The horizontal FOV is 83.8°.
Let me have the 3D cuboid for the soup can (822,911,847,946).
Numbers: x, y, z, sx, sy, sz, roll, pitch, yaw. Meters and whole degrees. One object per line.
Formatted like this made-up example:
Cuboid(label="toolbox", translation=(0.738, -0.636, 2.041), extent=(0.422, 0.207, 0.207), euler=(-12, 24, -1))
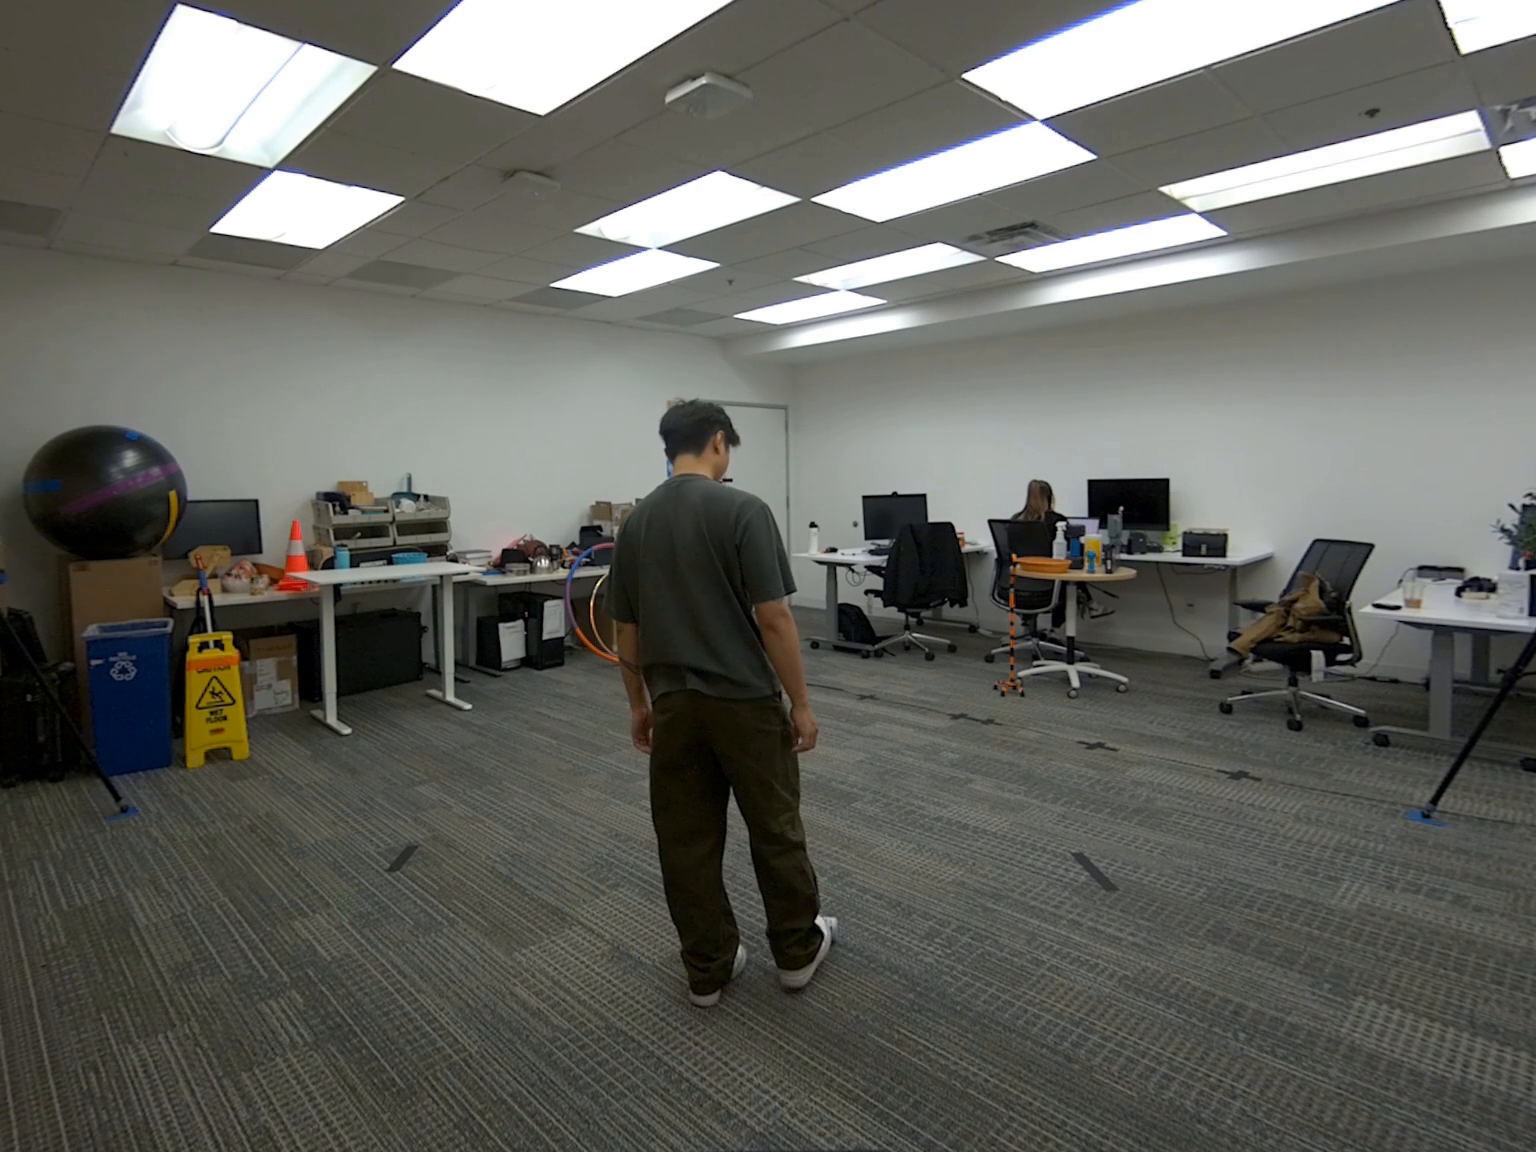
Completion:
Cuboid(label="soup can", translation=(0.168, 1.065, 2.583), extent=(0.122, 0.067, 0.067), euler=(-6, 4, 4))
